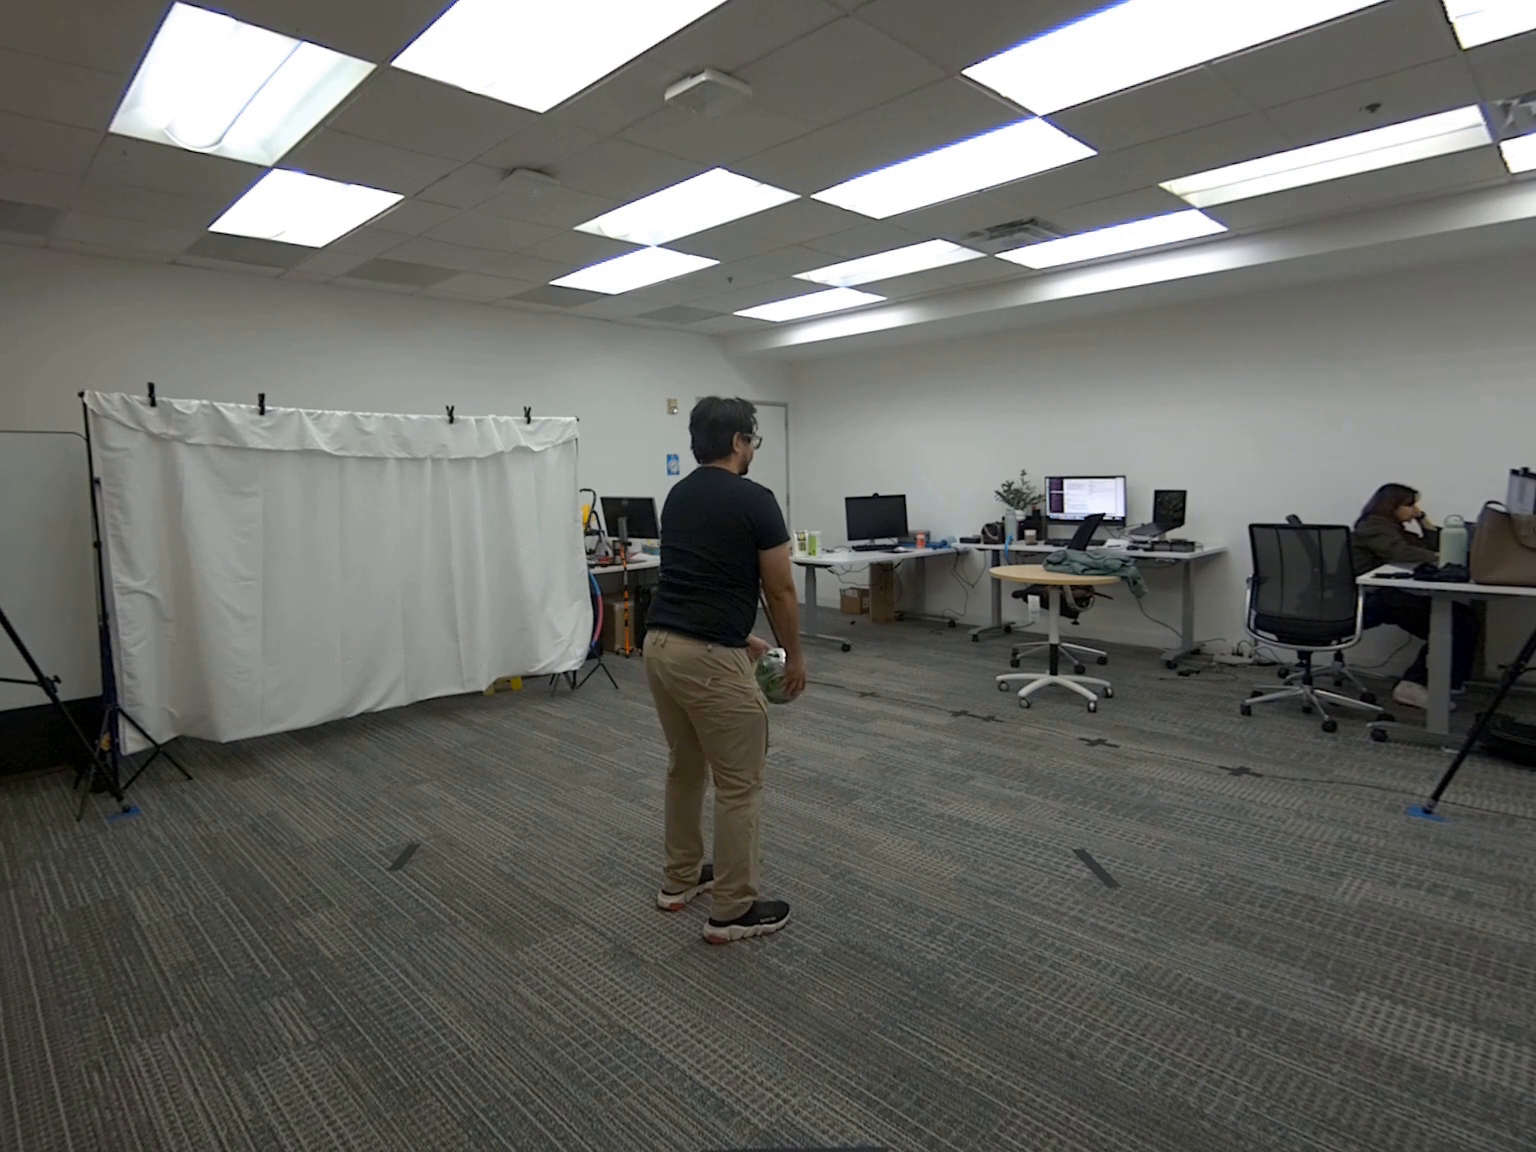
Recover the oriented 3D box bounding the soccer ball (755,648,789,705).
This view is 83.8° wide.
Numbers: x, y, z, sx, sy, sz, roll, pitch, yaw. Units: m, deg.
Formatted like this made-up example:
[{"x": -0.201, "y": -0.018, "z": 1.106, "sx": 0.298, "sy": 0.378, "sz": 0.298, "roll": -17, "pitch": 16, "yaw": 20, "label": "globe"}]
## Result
[{"x": 0.038, "y": 0.341, "z": 2.886, "sx": 0.187, "sy": 0.187, "sz": 0.188, "roll": -1, "pitch": 5, "yaw": -2, "label": "soccer ball"}]
